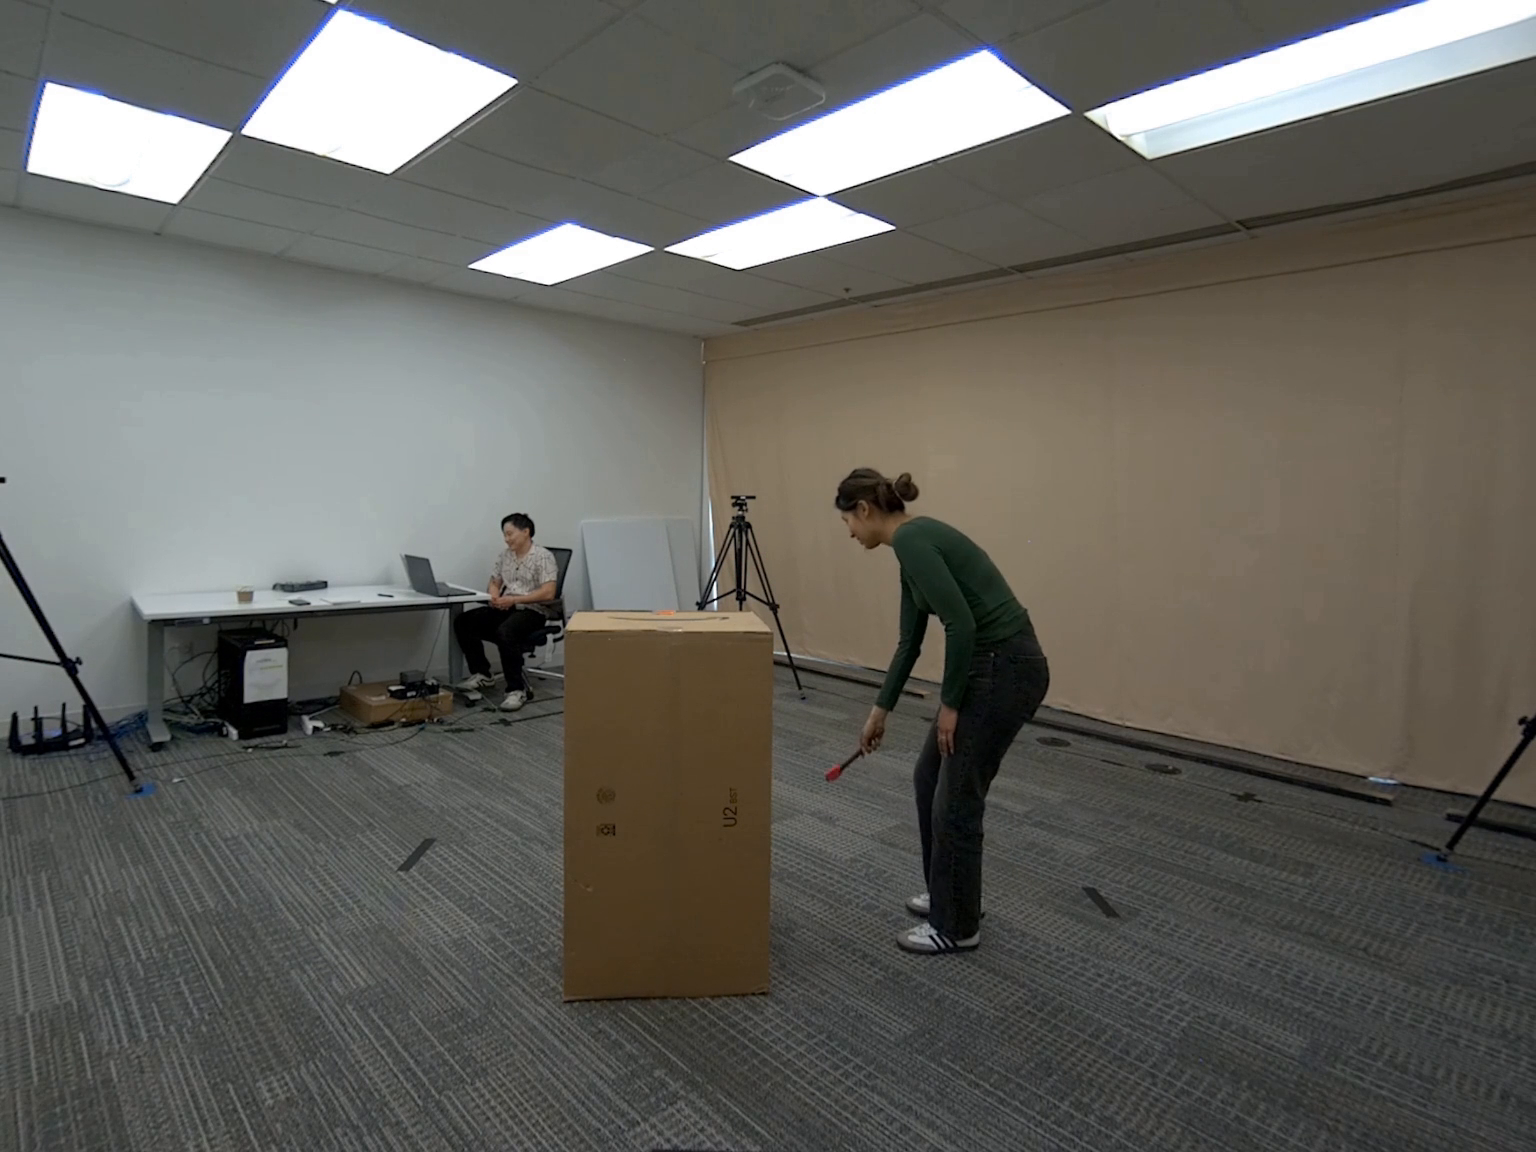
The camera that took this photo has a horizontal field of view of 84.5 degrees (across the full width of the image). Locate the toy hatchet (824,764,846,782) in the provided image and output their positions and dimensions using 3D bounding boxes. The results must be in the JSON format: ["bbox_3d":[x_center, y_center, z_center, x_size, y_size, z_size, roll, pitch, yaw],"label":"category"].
[{"bbox_3d":[0.269,0.606,2.832,0.128,0.030,0.270,-2,-39,-51],"label":"toy hatchet"}]
